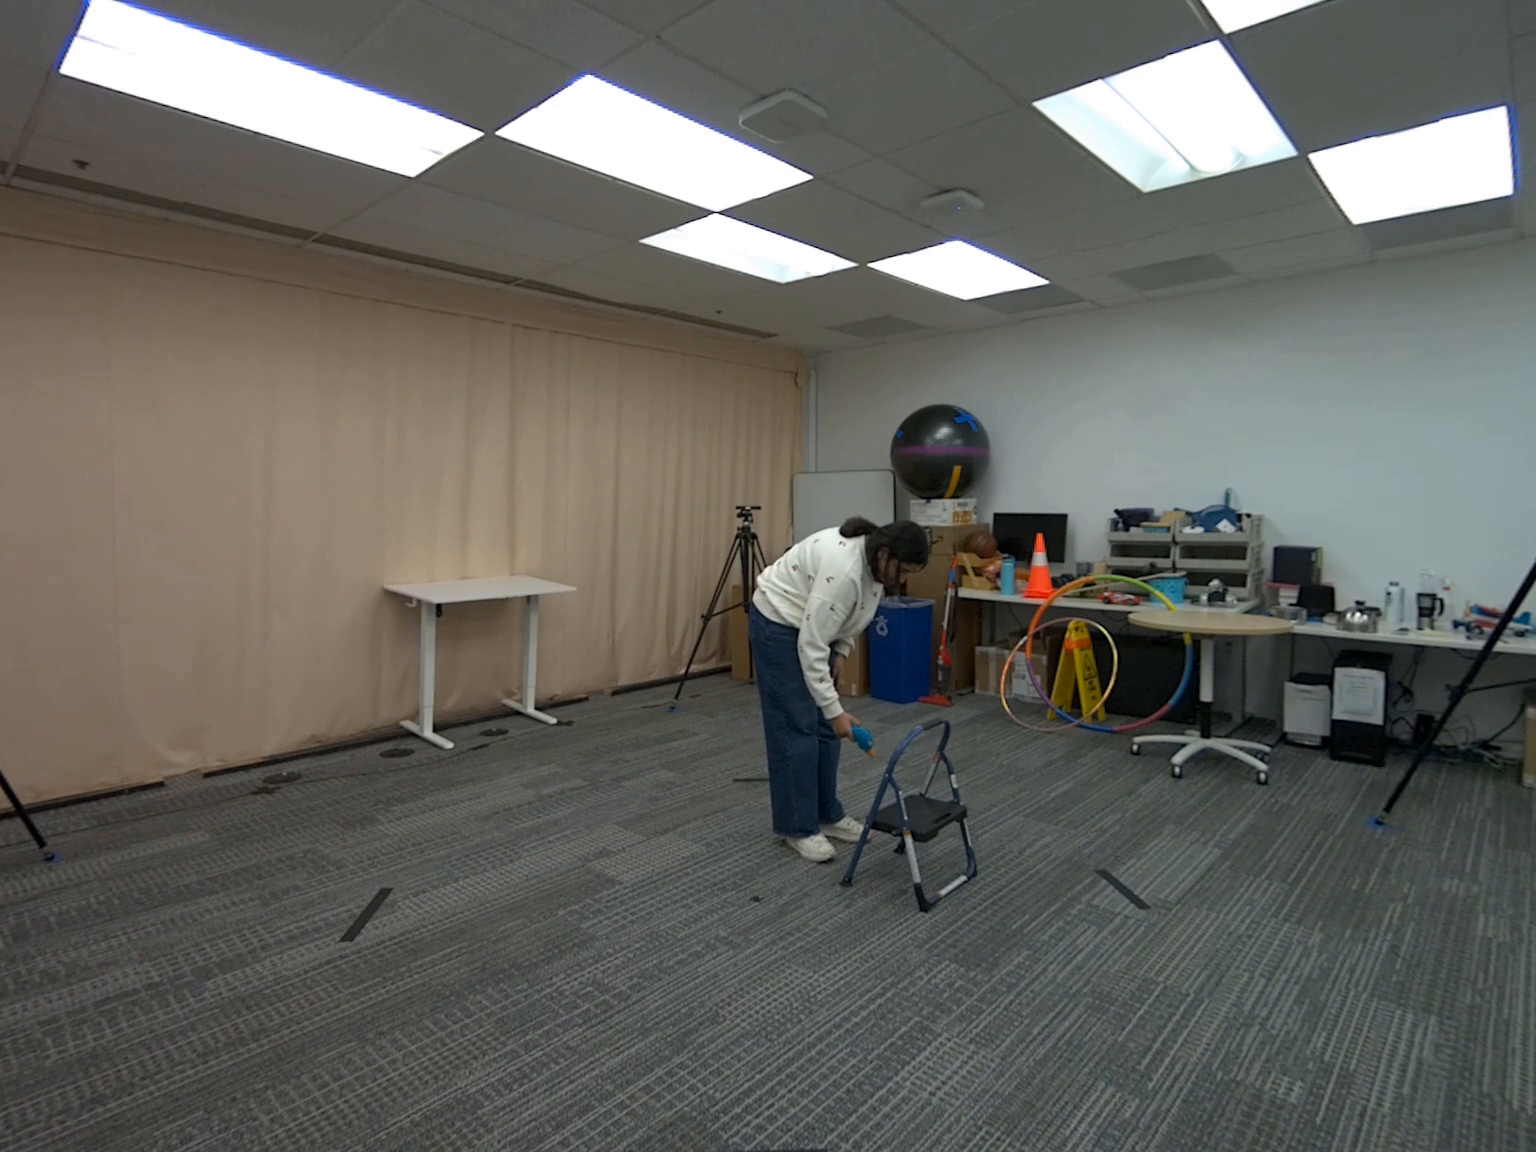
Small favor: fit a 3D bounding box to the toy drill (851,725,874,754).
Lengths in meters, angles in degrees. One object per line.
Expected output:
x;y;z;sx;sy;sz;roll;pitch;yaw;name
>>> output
0.366;0.624;3.208;0.060;0.166;0.150;-34;26;-15;toy drill
